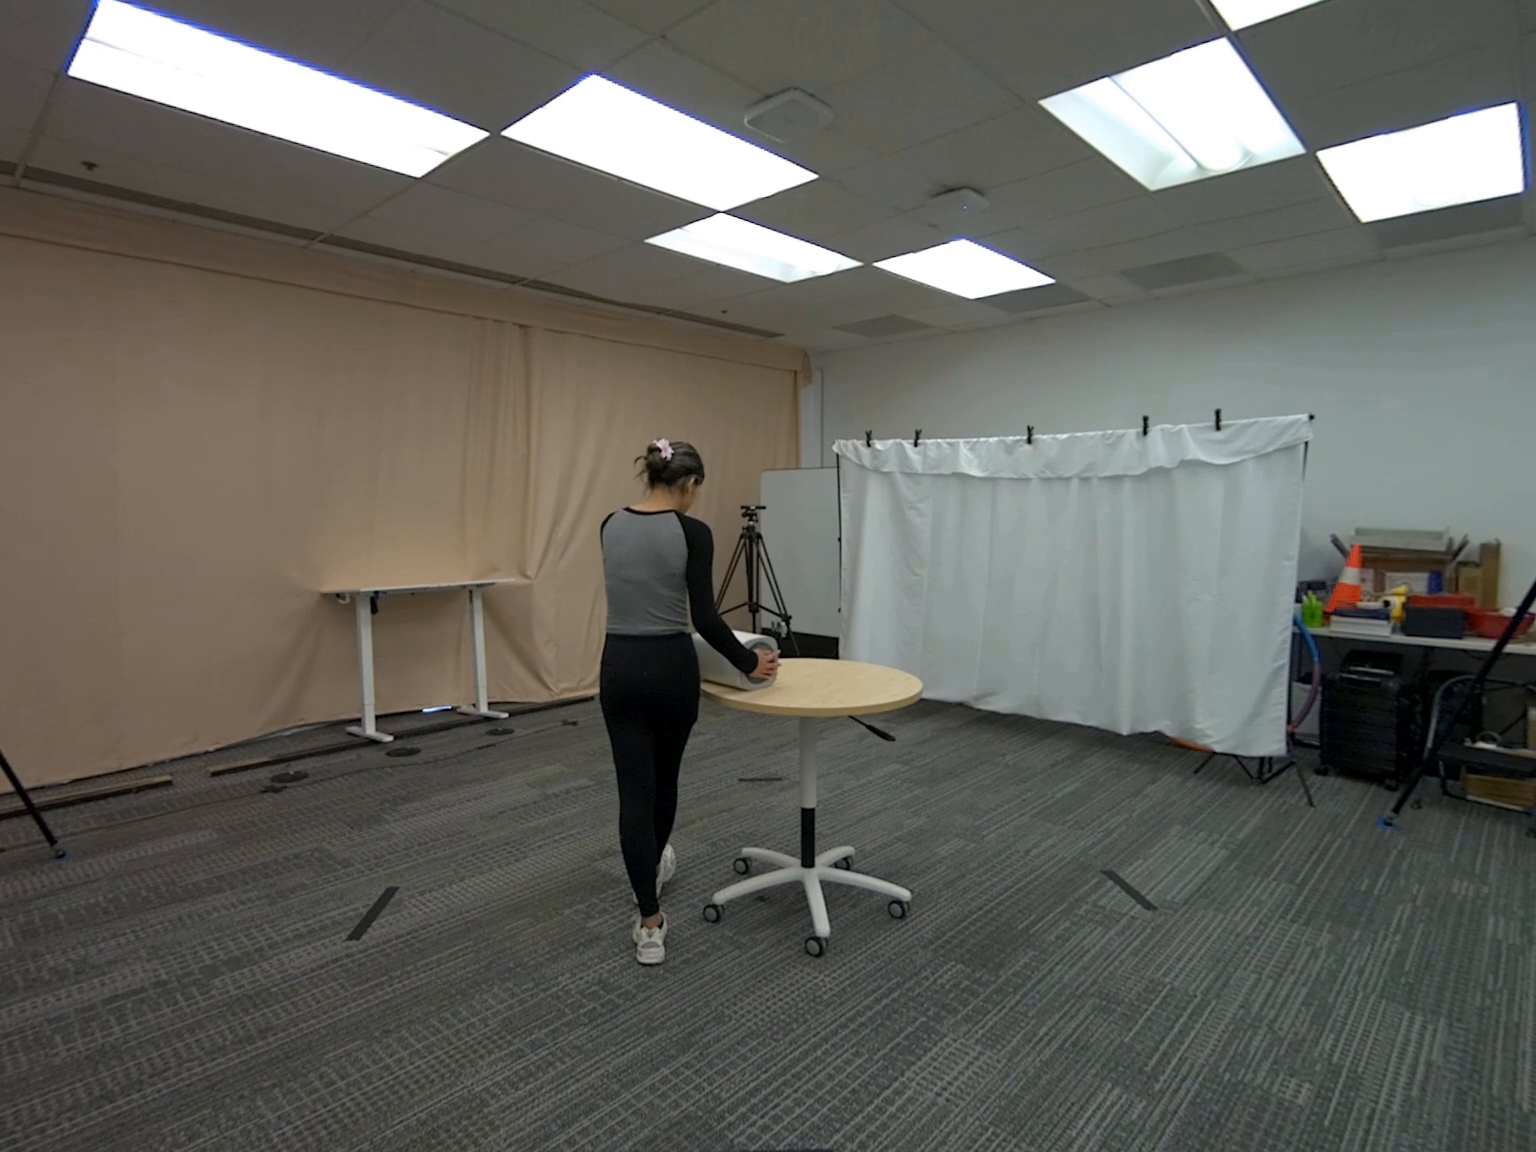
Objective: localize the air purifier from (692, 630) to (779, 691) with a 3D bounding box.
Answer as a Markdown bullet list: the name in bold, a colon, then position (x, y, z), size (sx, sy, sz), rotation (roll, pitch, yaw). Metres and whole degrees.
- **air purifier**: position (-0.107, 0.277, 2.852), size (0.166, 0.171, 0.274), rotation (-5, 7, -42)
